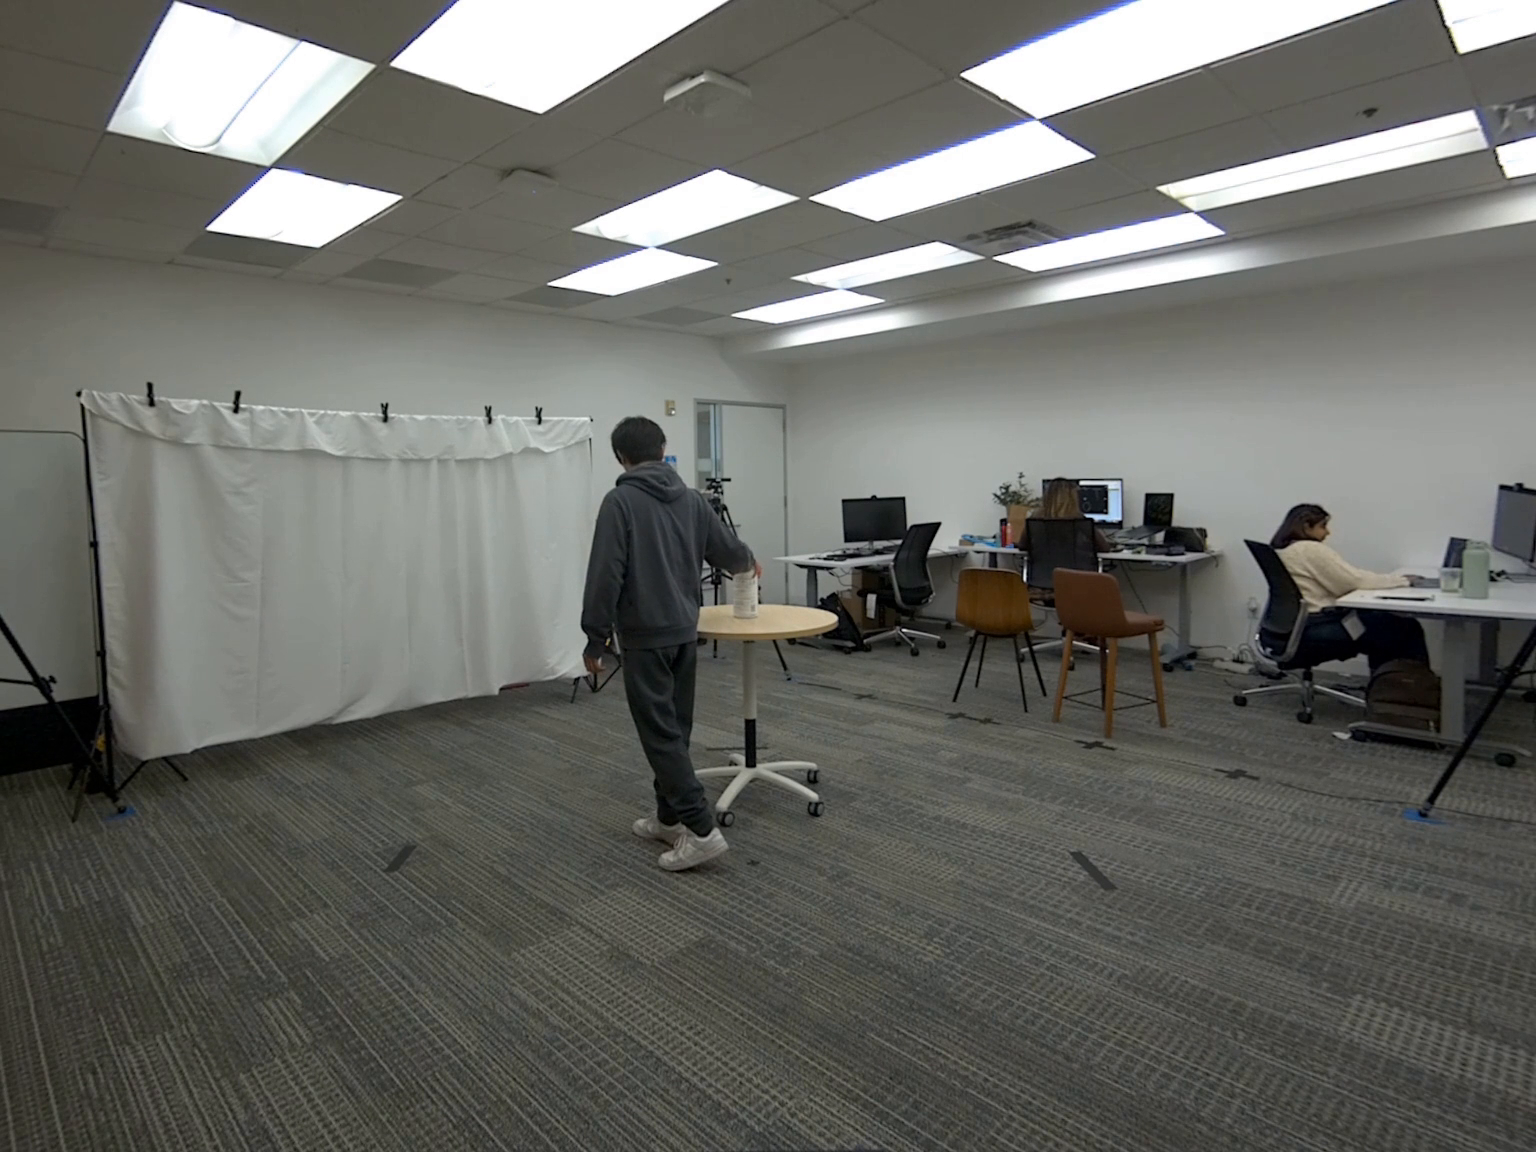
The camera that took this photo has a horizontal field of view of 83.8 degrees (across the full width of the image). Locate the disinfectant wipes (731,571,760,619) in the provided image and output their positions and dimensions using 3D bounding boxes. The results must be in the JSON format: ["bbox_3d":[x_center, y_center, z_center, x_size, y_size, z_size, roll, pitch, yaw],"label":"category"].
[{"bbox_3d":[-0.095,0.071,3.714,0.118,0.217,0.118,-3,4,-1],"label":"disinfectant wipes"}]
